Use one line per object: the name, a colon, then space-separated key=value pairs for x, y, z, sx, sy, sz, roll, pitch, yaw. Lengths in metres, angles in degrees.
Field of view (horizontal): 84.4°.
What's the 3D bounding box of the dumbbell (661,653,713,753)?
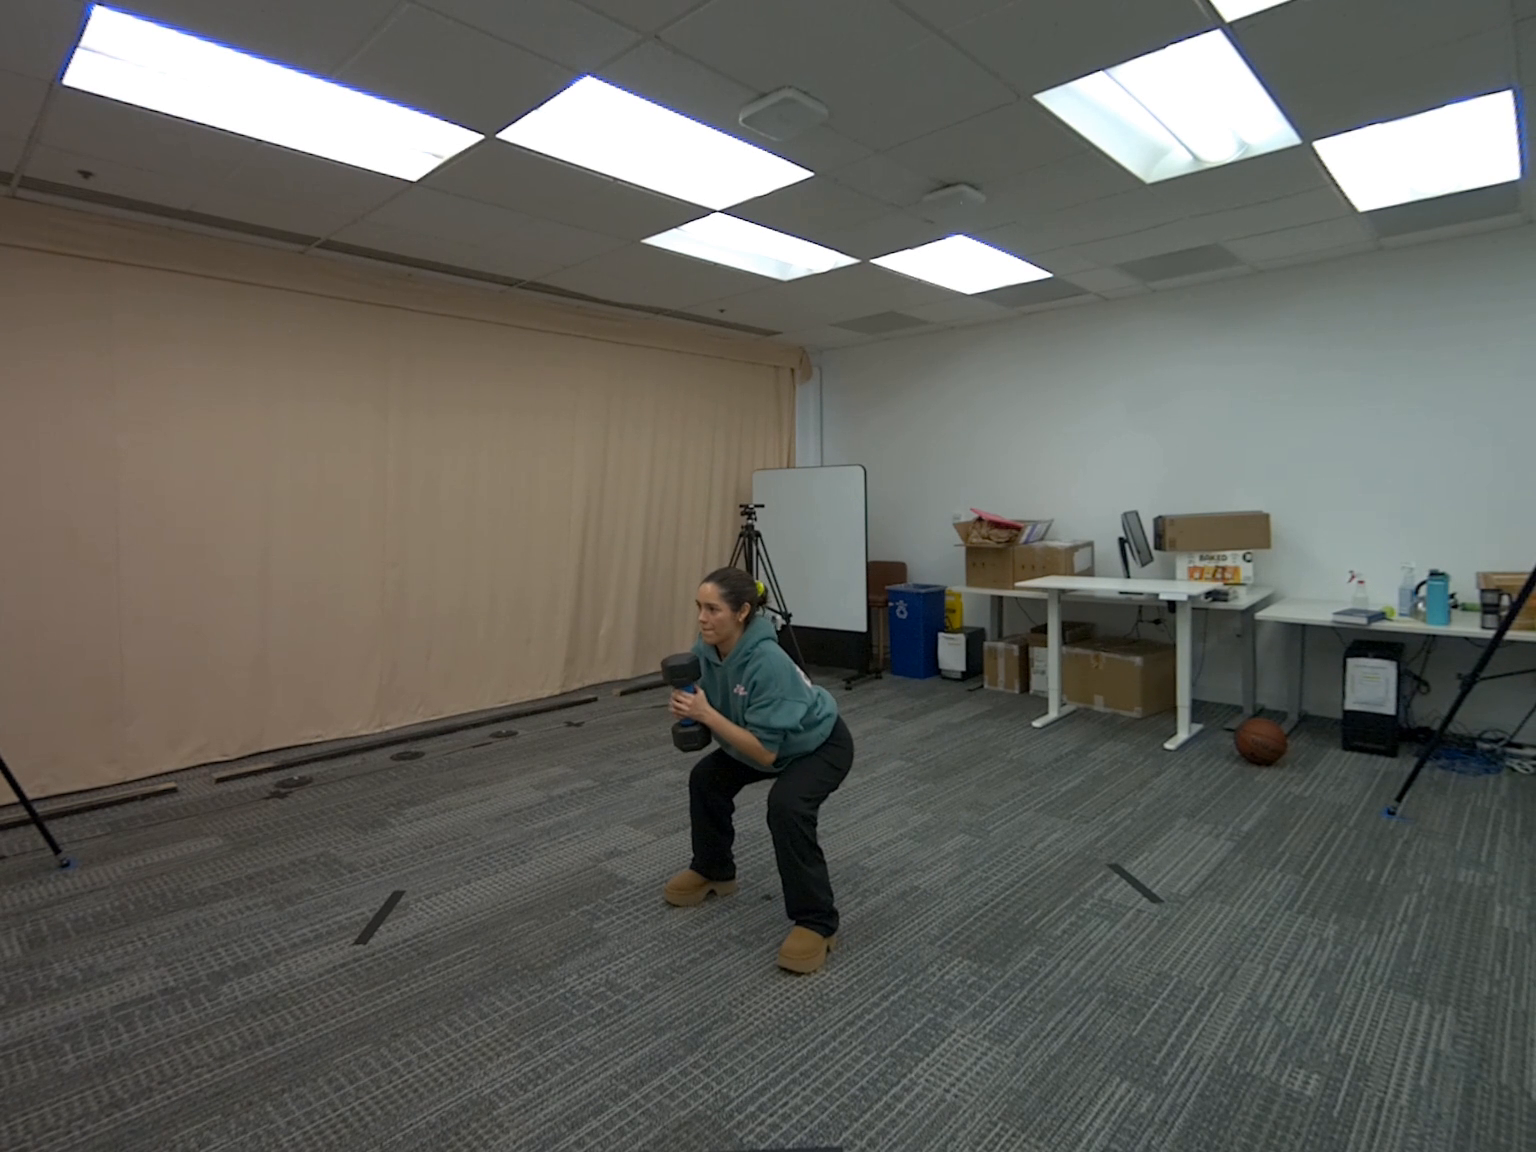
dumbbell: x=-0.250 y=0.379 z=2.628 sx=0.123 sy=0.292 sz=0.109 roll=-8 pitch=8 yaw=5
